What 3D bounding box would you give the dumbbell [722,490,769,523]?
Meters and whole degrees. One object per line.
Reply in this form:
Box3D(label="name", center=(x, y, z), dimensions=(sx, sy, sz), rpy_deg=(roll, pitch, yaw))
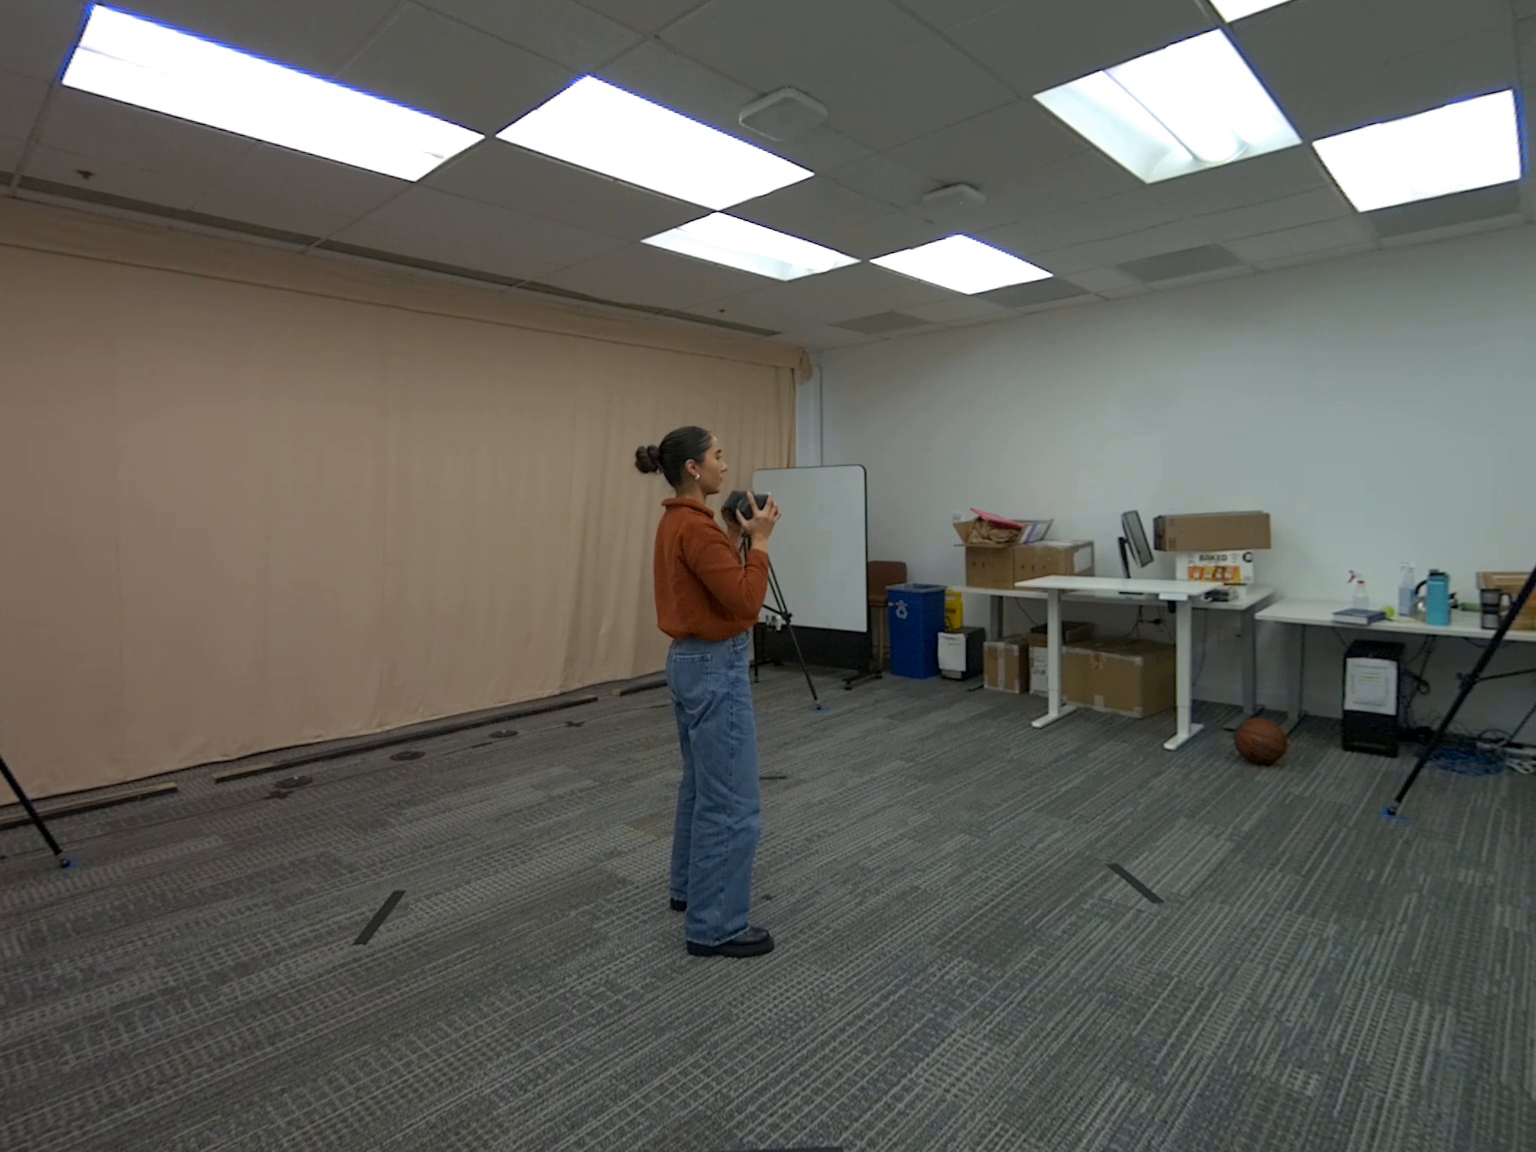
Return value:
Box3D(label="dumbbell", center=(-0.062, -0.227, 2.746), dimensions=(0.108, 0.121, 0.300), rpy_deg=(-34, 18, -6))
